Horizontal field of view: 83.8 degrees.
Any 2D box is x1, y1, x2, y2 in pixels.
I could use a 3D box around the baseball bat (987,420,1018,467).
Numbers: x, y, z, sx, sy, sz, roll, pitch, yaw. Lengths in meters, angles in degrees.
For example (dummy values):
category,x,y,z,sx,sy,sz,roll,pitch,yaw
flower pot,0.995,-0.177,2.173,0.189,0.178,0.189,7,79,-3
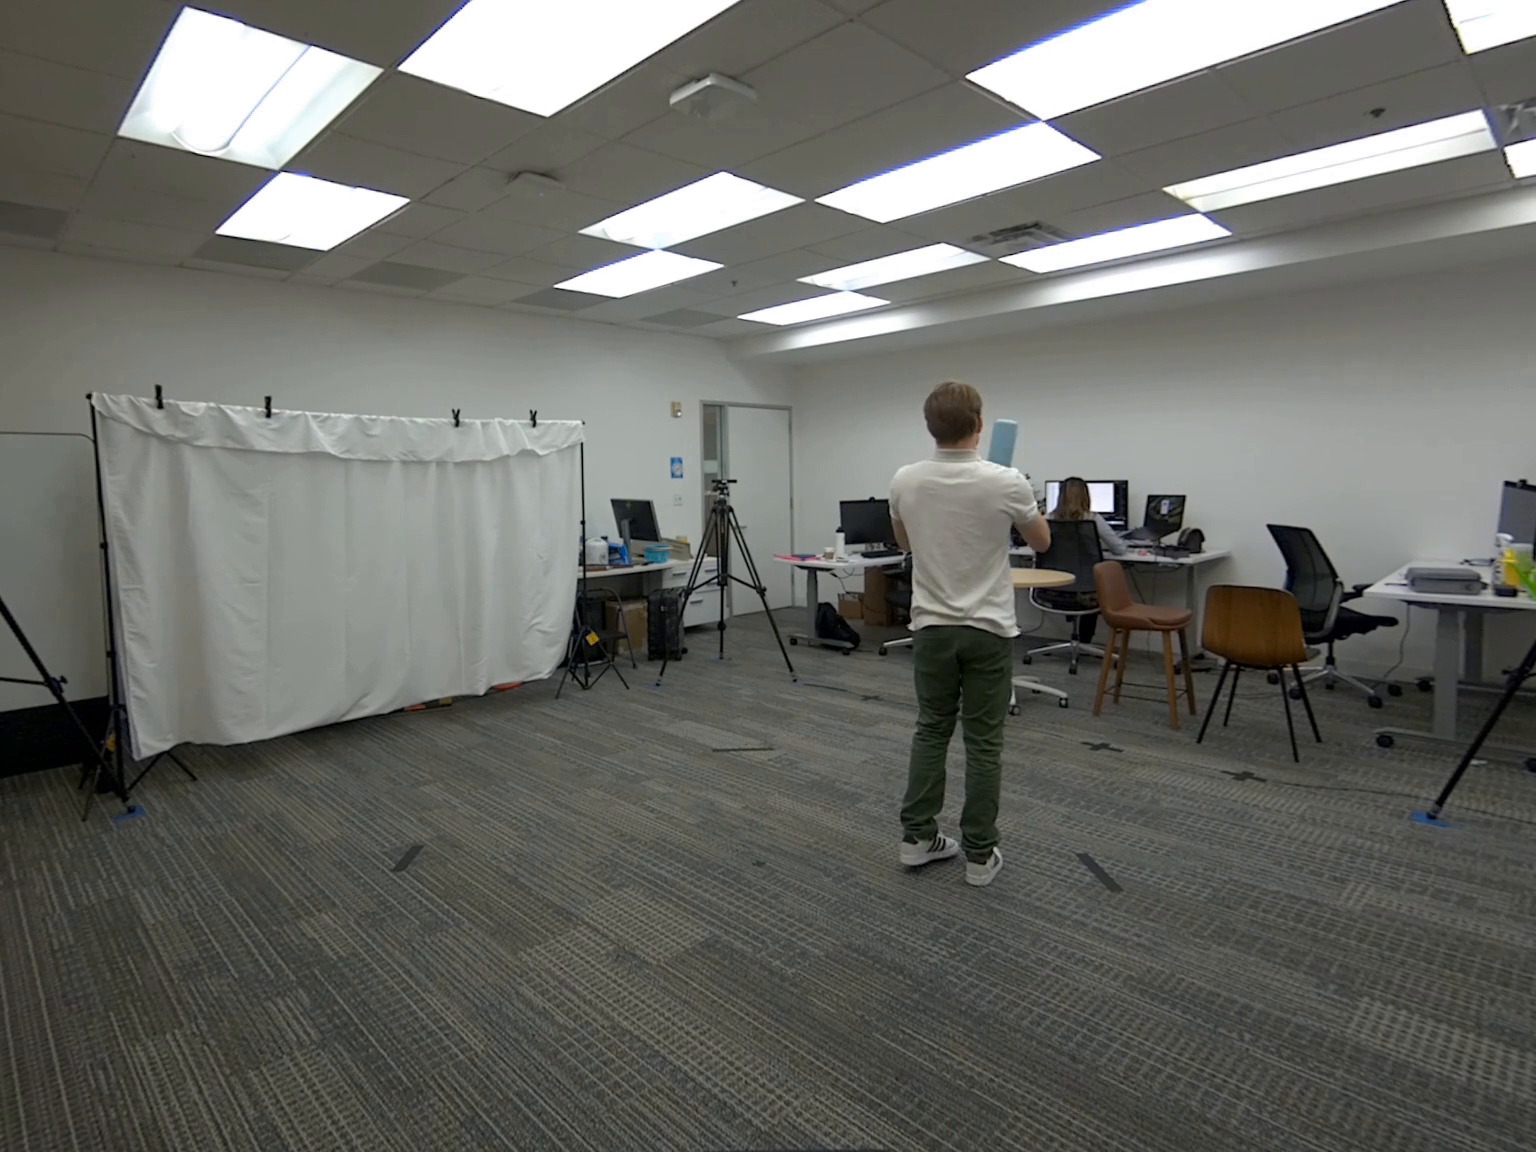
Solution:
category,x,y,z,sx,sy,sz,roll,pitch,yaw
baseball bat,0.869,-0.322,3.254,0.089,0.538,0.090,7,11,-3
